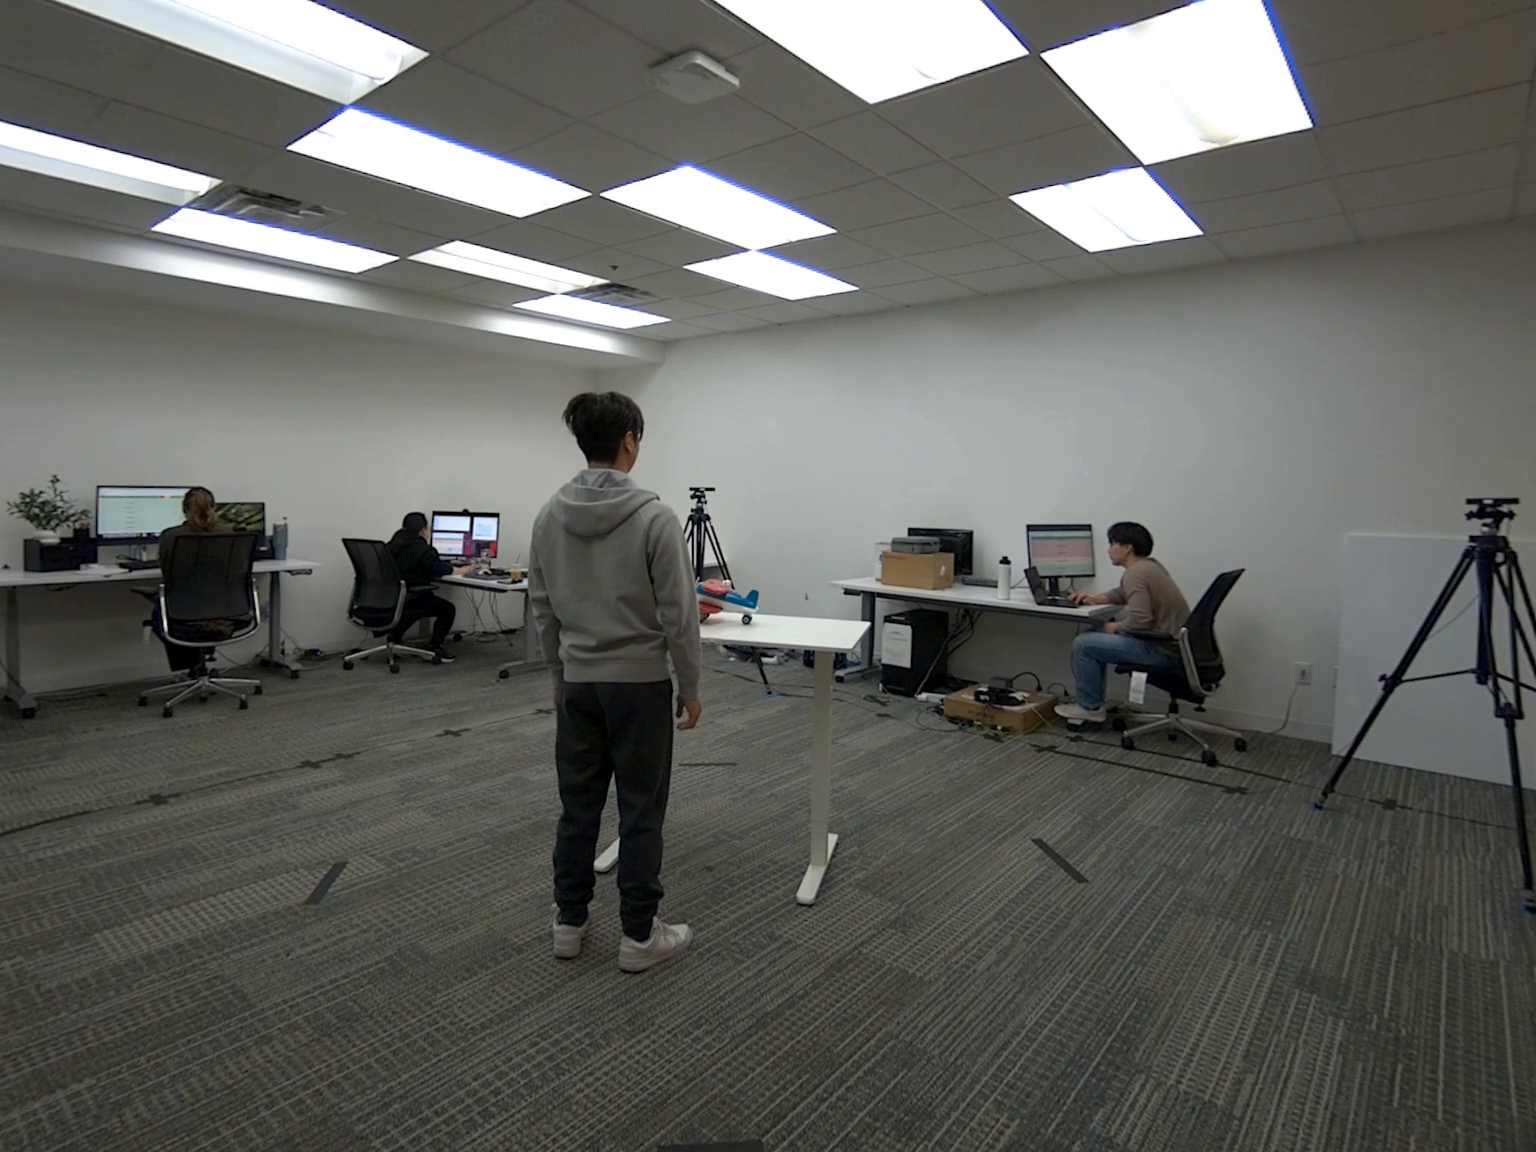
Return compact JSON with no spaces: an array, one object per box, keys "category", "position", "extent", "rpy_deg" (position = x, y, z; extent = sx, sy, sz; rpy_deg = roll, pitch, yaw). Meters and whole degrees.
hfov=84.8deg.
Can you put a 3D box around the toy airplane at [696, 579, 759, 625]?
[{"category":"toy airplane","position":[-0.182,0.096,3.243],"extent":[0.254,0.156,0.258],"rpy_deg":[-1,6,-22]}]
